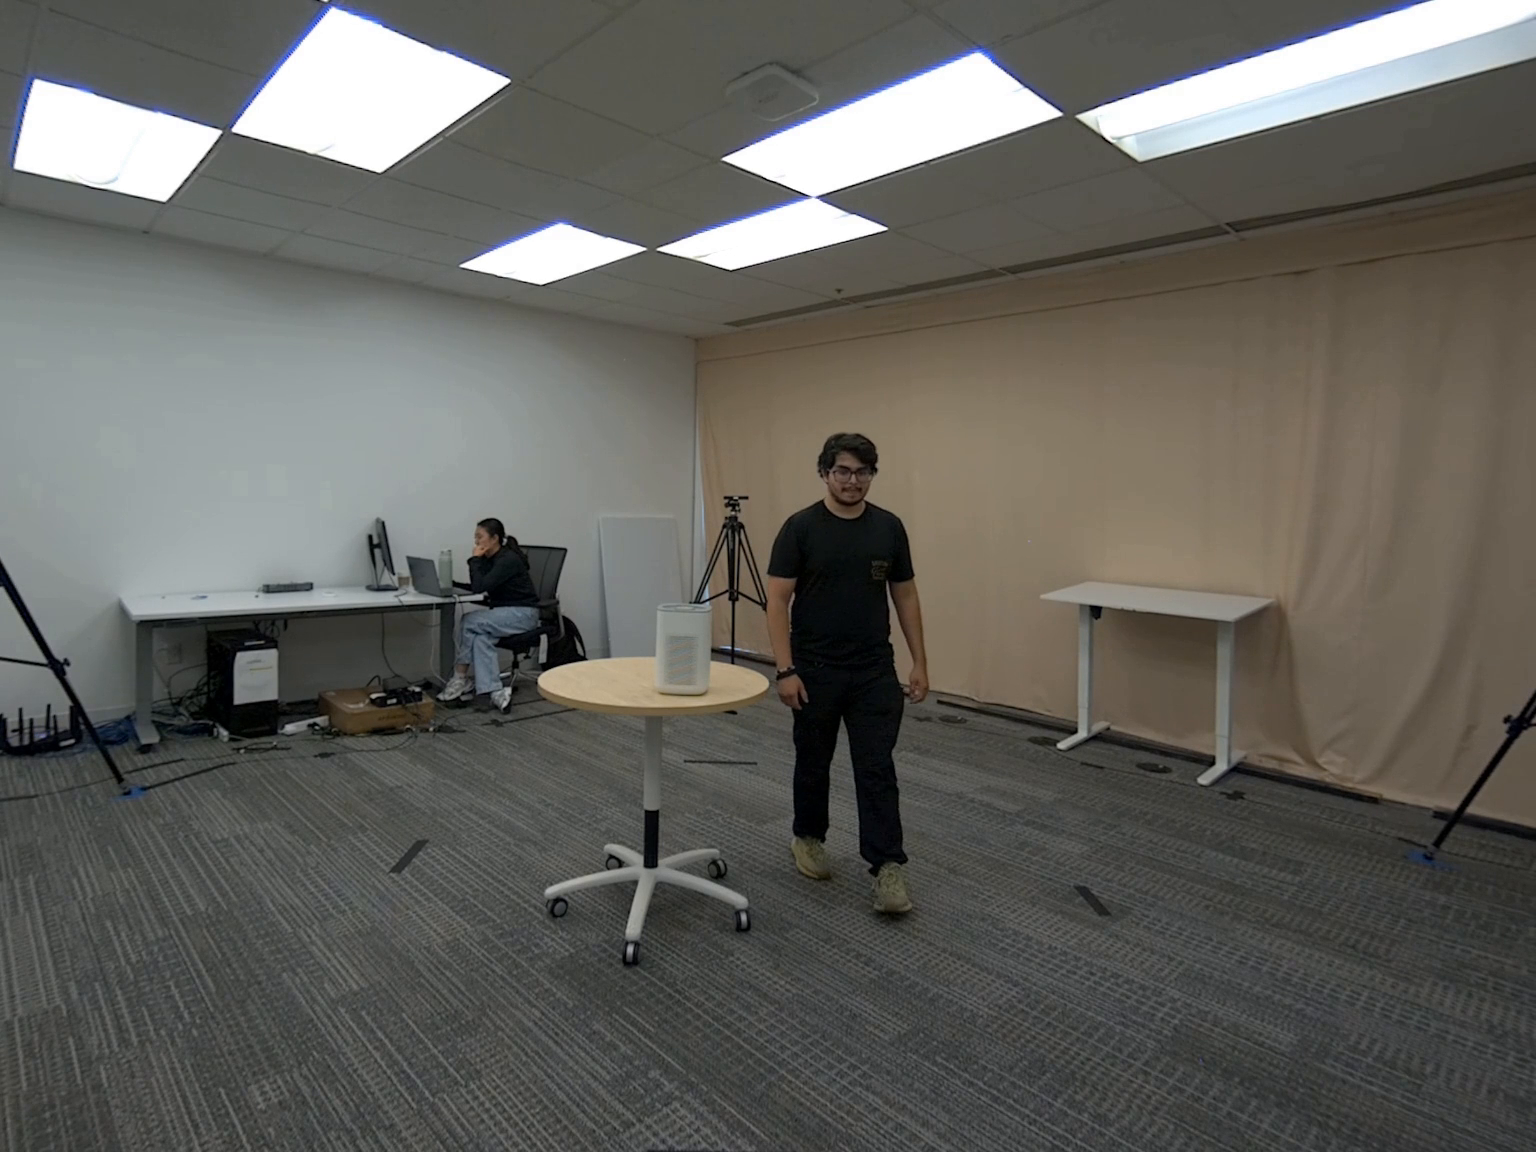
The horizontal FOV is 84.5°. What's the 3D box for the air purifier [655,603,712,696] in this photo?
[{"bbox_3d":[-0.274,0.227,2.647,0.172,0.265,0.171,2,1,1],"label":"air purifier"}]
